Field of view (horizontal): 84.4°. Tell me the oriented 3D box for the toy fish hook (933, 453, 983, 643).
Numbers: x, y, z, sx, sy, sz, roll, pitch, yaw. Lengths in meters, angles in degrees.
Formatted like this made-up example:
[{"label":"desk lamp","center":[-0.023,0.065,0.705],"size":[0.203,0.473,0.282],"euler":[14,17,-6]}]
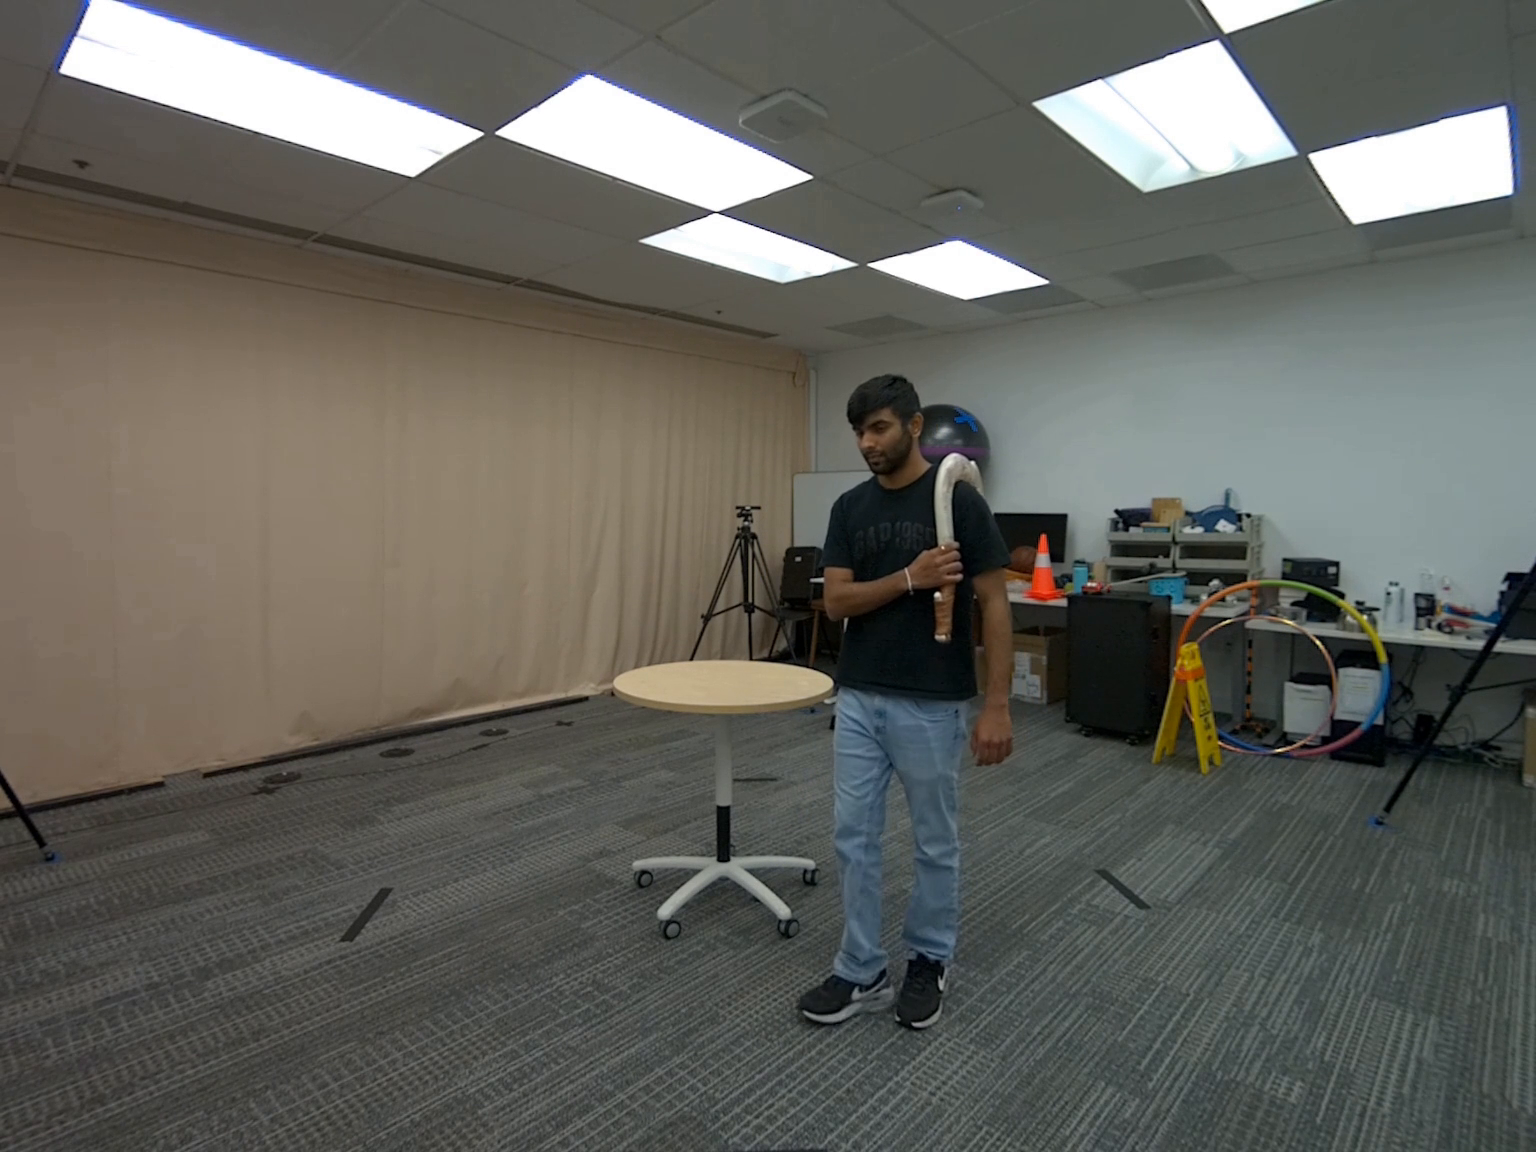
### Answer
[{"label":"toy fish hook","center":[0.502,-0.068,2.210],"size":[0.217,0.509,0.050],"euler":[14,-14,-38]}]
